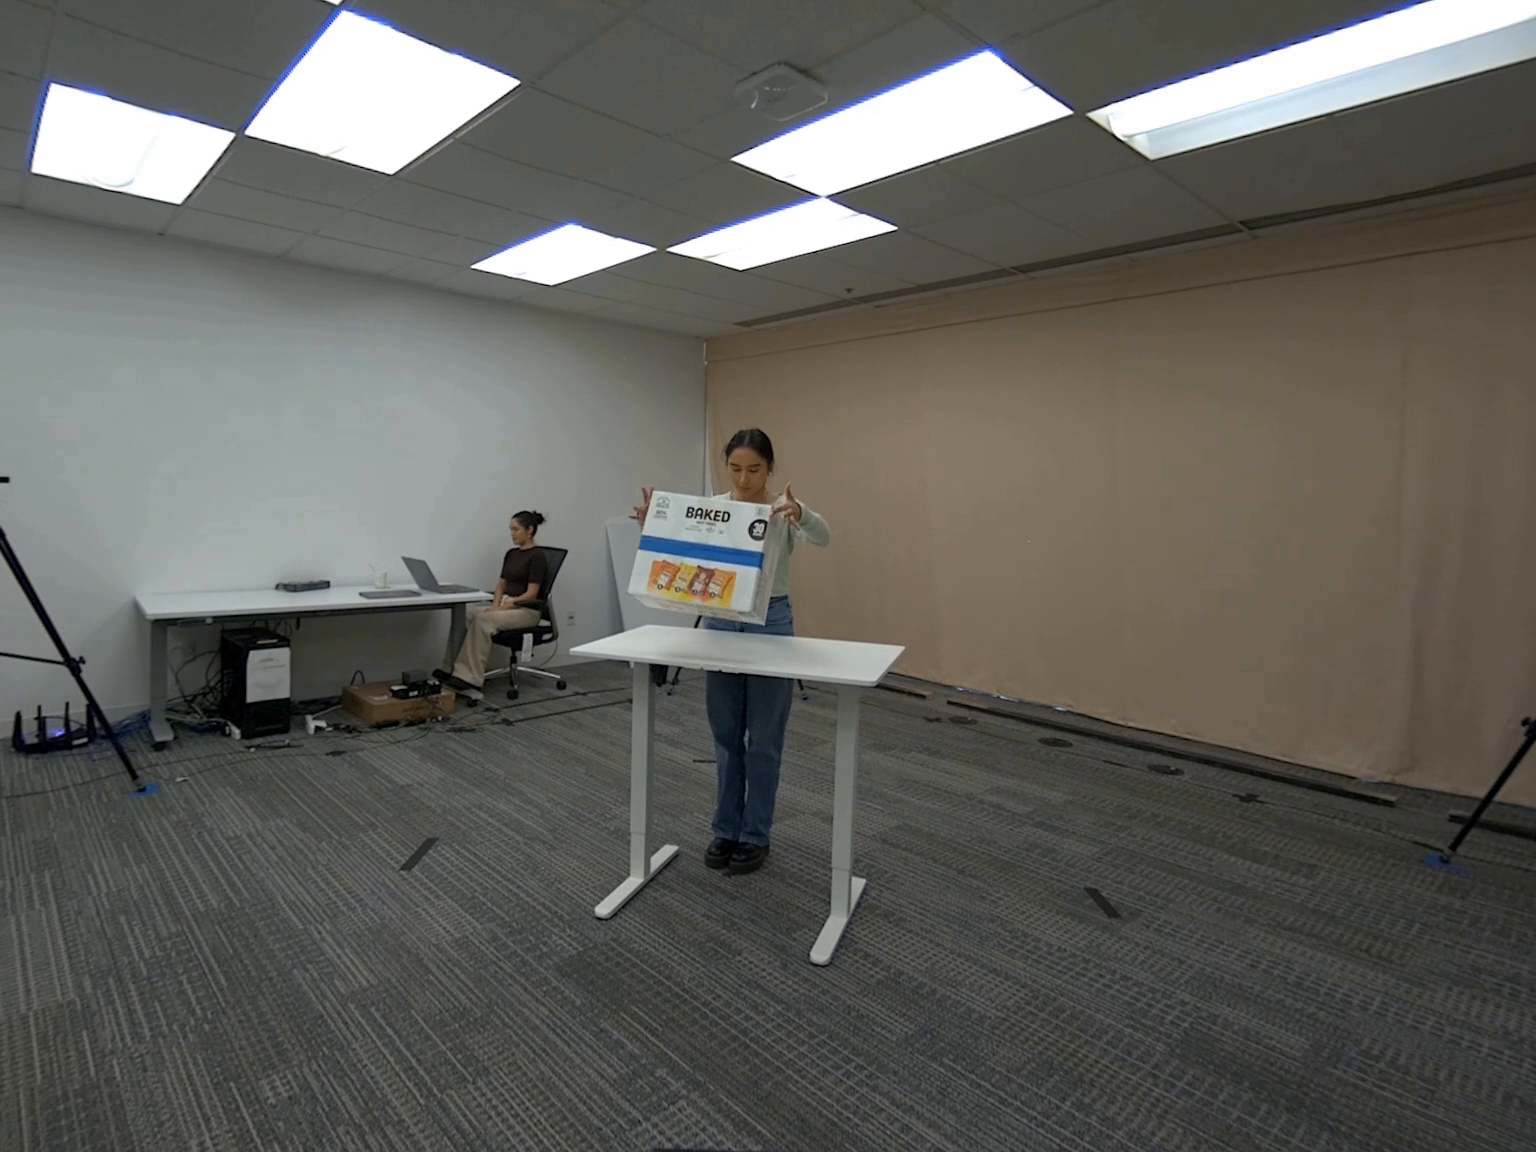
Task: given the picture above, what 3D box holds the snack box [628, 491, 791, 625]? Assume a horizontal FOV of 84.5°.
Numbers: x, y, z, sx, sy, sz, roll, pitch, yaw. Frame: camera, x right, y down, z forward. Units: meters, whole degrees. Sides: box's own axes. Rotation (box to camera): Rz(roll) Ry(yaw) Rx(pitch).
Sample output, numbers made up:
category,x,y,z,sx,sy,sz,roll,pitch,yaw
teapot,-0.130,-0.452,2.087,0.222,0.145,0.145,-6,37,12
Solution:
category,x,y,z,sx,sy,sz,roll,pitch,yaw
snack box,-0.199,-0.061,2.676,0.411,0.343,0.201,10,-15,15
